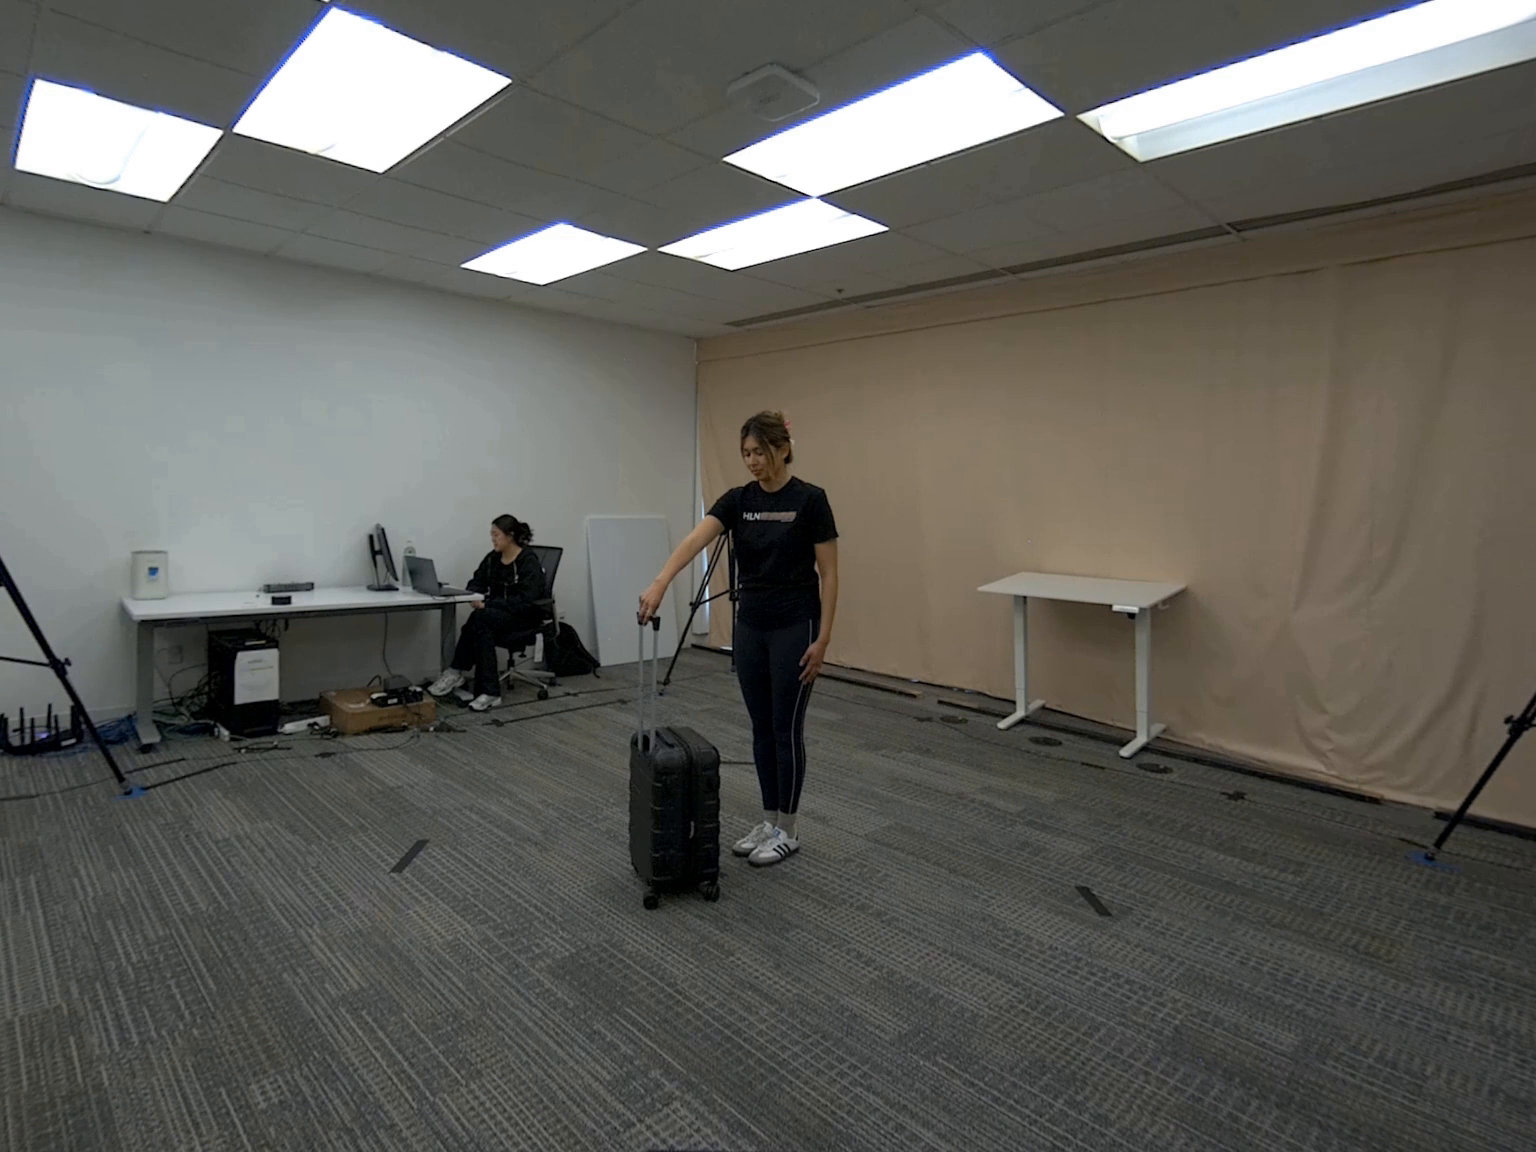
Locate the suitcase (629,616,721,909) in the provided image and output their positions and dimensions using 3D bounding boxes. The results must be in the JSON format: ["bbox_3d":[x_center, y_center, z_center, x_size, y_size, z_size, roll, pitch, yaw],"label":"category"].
[{"bbox_3d":[-0.339,0.631,2.999,0.253,0.976,0.391,1,4,-20],"label":"suitcase"}]
